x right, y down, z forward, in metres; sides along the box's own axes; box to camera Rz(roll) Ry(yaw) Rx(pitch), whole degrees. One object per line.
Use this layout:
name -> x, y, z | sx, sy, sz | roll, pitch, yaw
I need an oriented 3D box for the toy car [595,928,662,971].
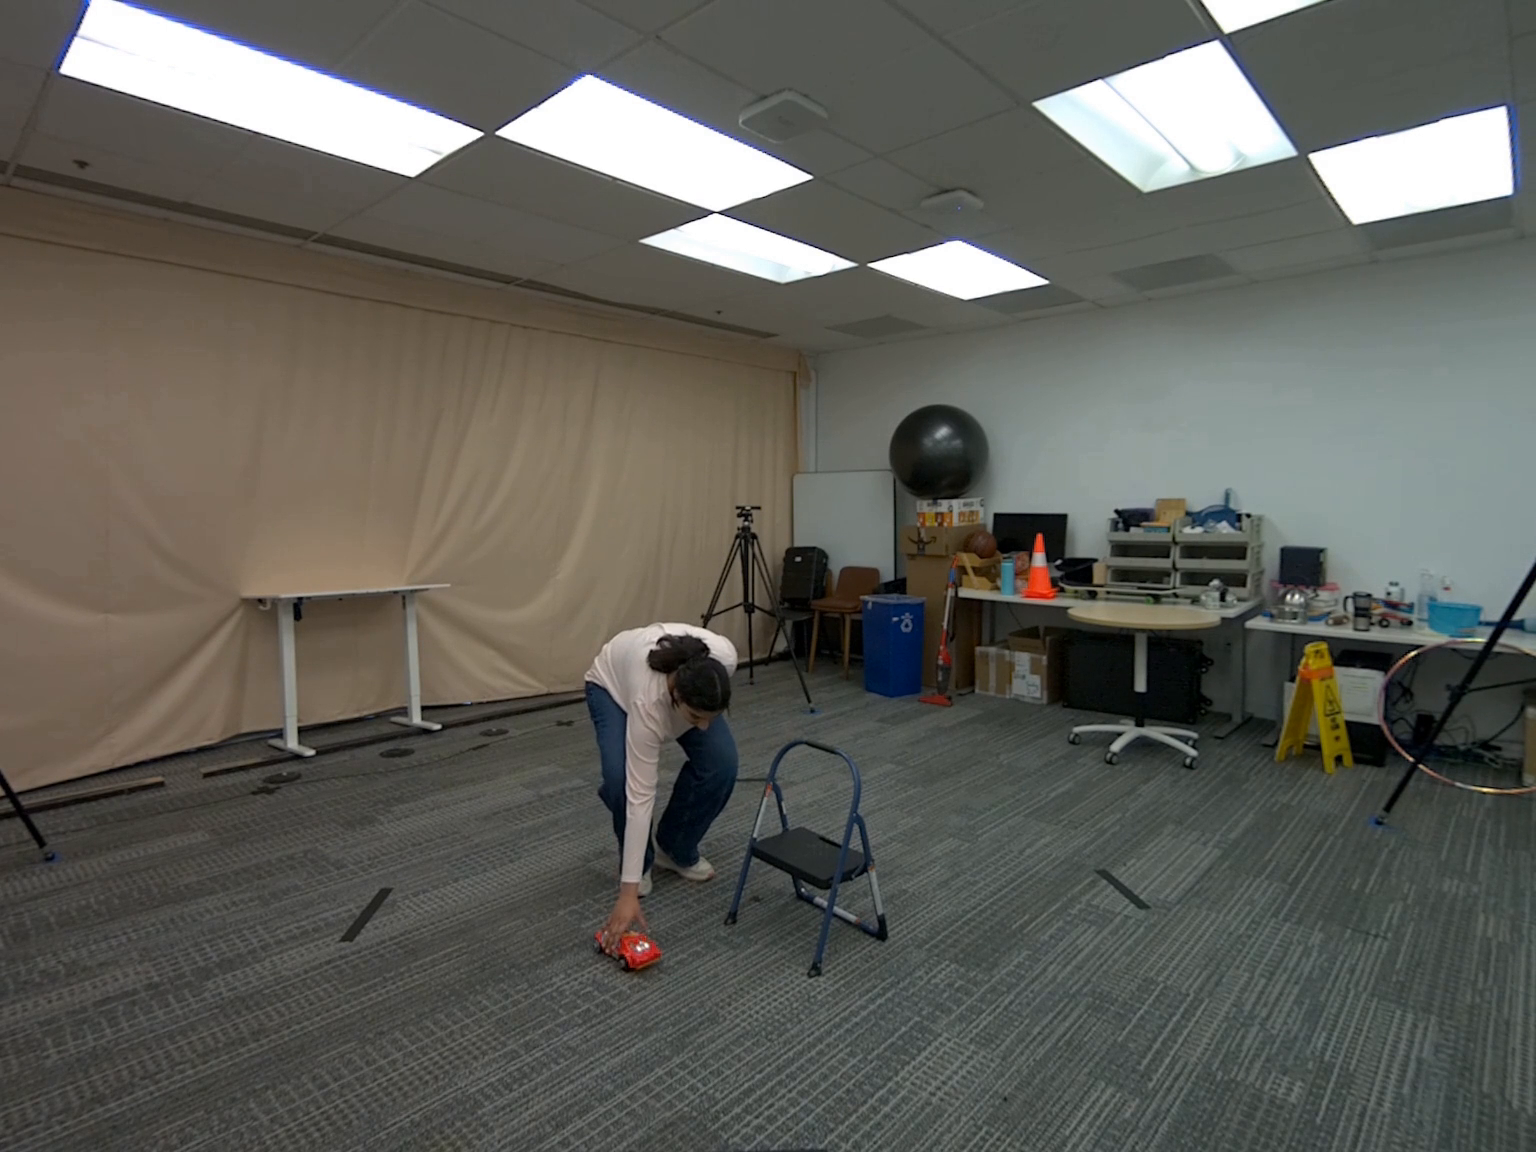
toy car -> -0.428, 1.142, 2.600 | 0.126, 0.083, 0.261 | -5, -6, -42
